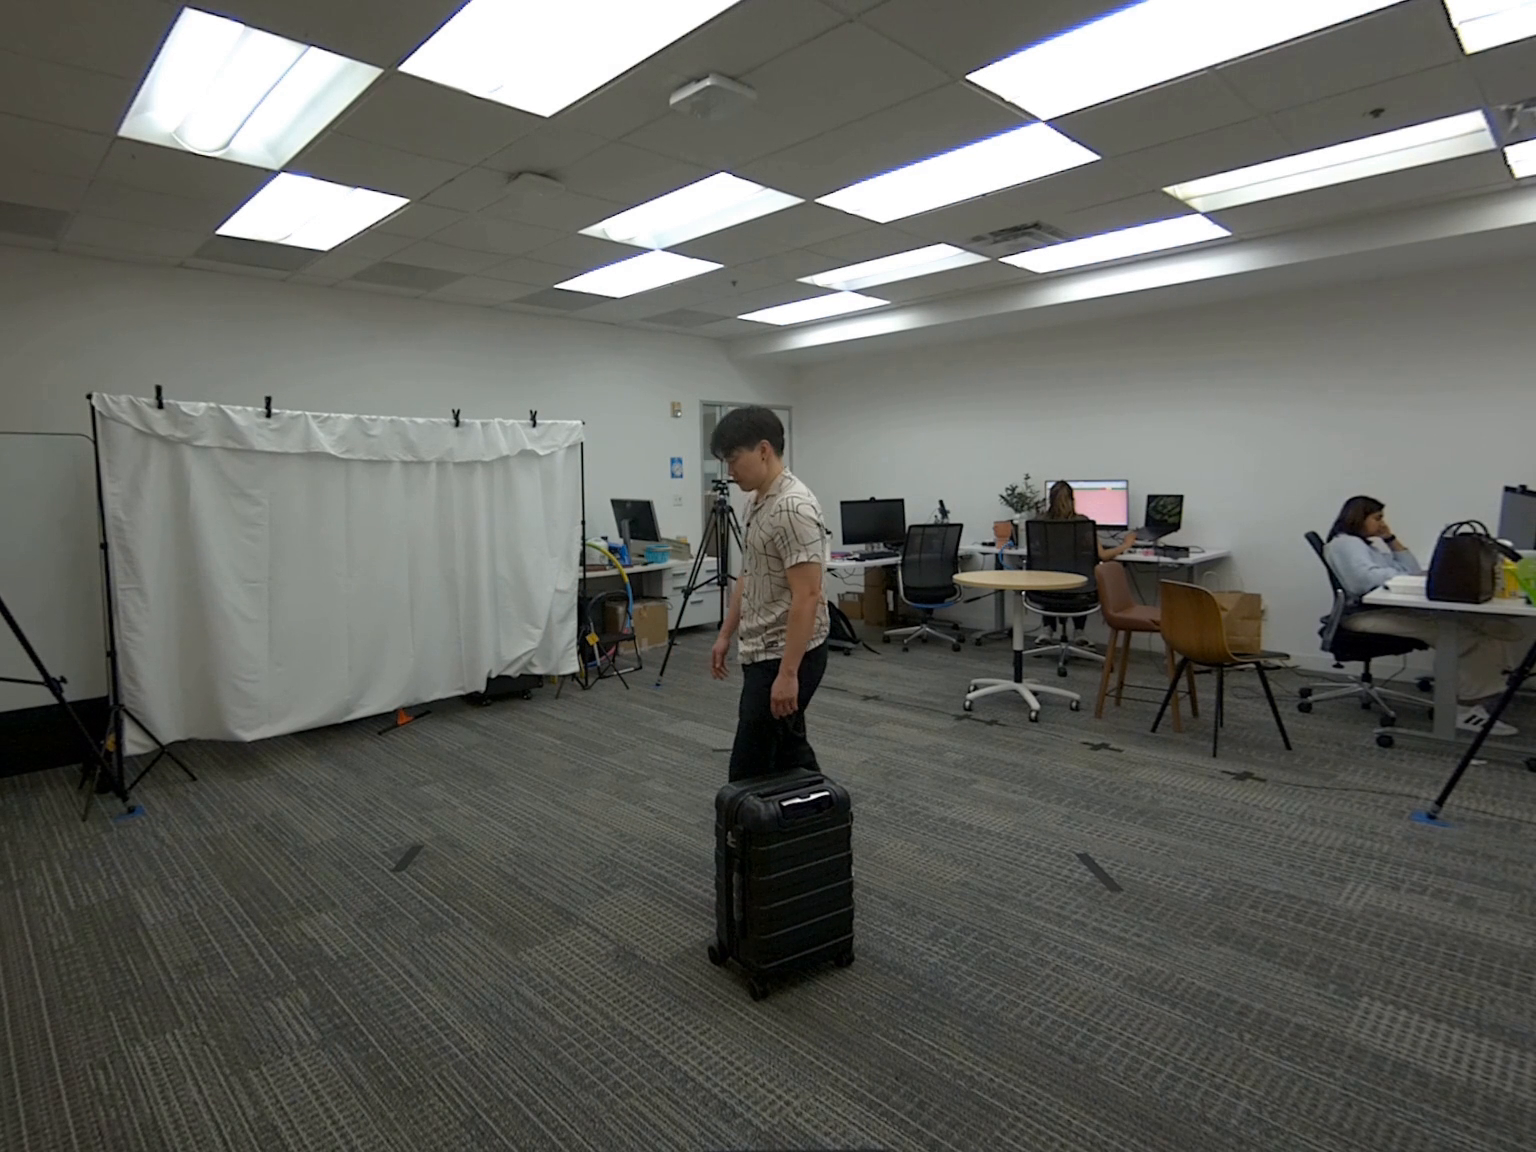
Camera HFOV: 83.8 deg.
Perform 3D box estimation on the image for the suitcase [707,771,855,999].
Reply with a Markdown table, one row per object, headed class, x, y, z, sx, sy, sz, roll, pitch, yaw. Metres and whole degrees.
| class | x | y | z | sx | sy | sz | roll | pitch | yaw |
| --- | --- | --- | --- | --- | --- | --- | --- | --- | --- |
| suitcase | 0.046 | 0.848 | 2.439 | 0.366 | 0.547 | 0.255 | -4 | 5 | -32 |
